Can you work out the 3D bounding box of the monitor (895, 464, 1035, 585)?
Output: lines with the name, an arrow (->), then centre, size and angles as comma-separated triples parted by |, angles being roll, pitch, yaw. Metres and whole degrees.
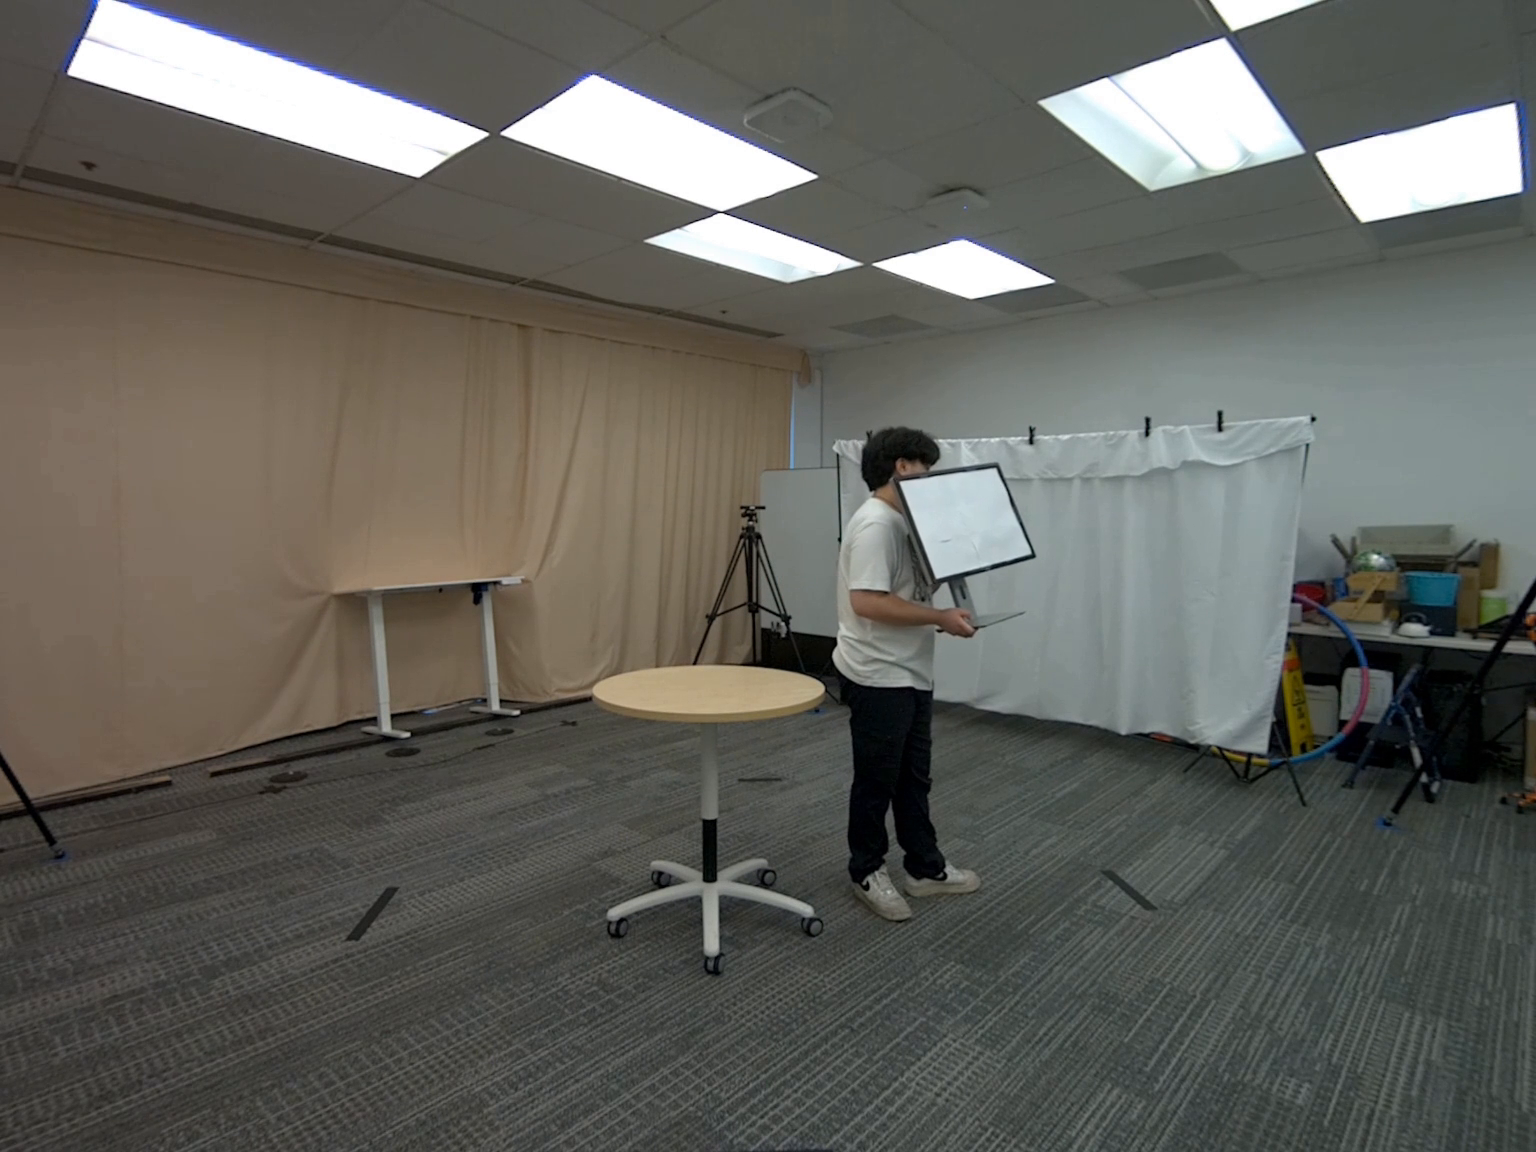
monitor -> 0.642, -0.082, 2.840 | 0.550, 0.557, 0.215 | -12, -7, -37
